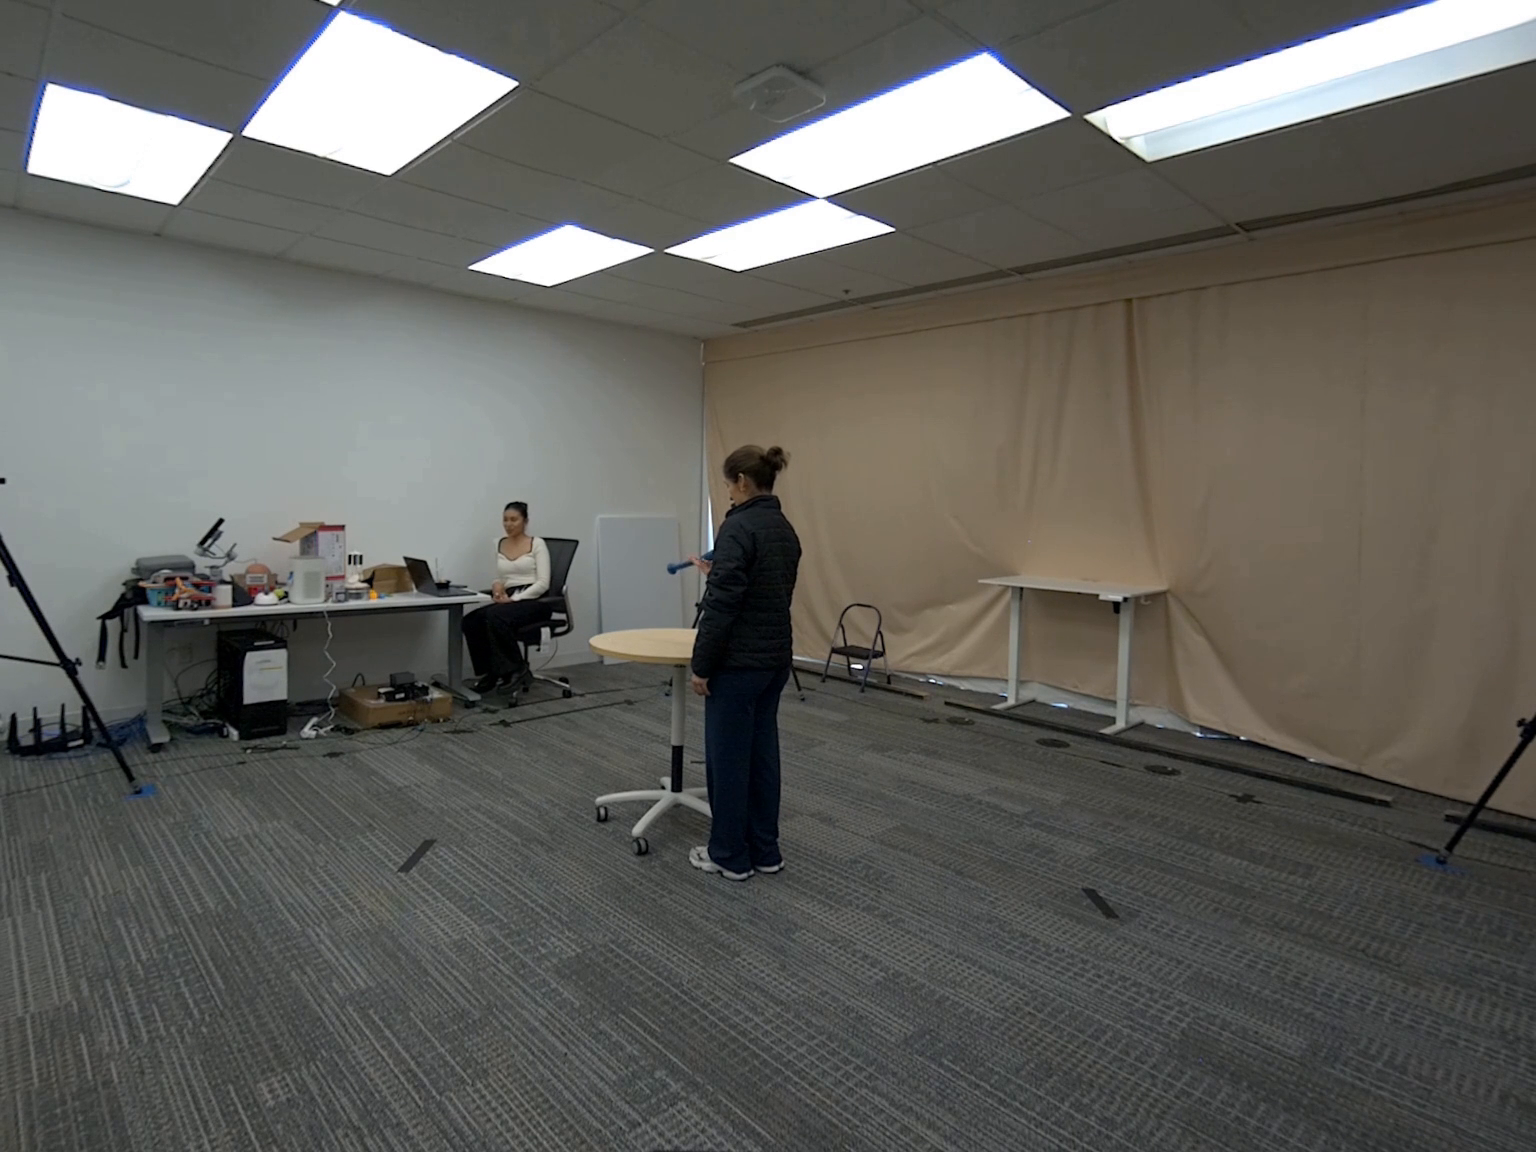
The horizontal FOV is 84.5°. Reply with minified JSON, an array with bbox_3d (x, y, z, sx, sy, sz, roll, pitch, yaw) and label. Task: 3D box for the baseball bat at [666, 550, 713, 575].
[{"bbox_3d":[-0.190,-0.086,3.448,0.550,0.089,0.087,-17,-5,28],"label":"baseball bat"}]
